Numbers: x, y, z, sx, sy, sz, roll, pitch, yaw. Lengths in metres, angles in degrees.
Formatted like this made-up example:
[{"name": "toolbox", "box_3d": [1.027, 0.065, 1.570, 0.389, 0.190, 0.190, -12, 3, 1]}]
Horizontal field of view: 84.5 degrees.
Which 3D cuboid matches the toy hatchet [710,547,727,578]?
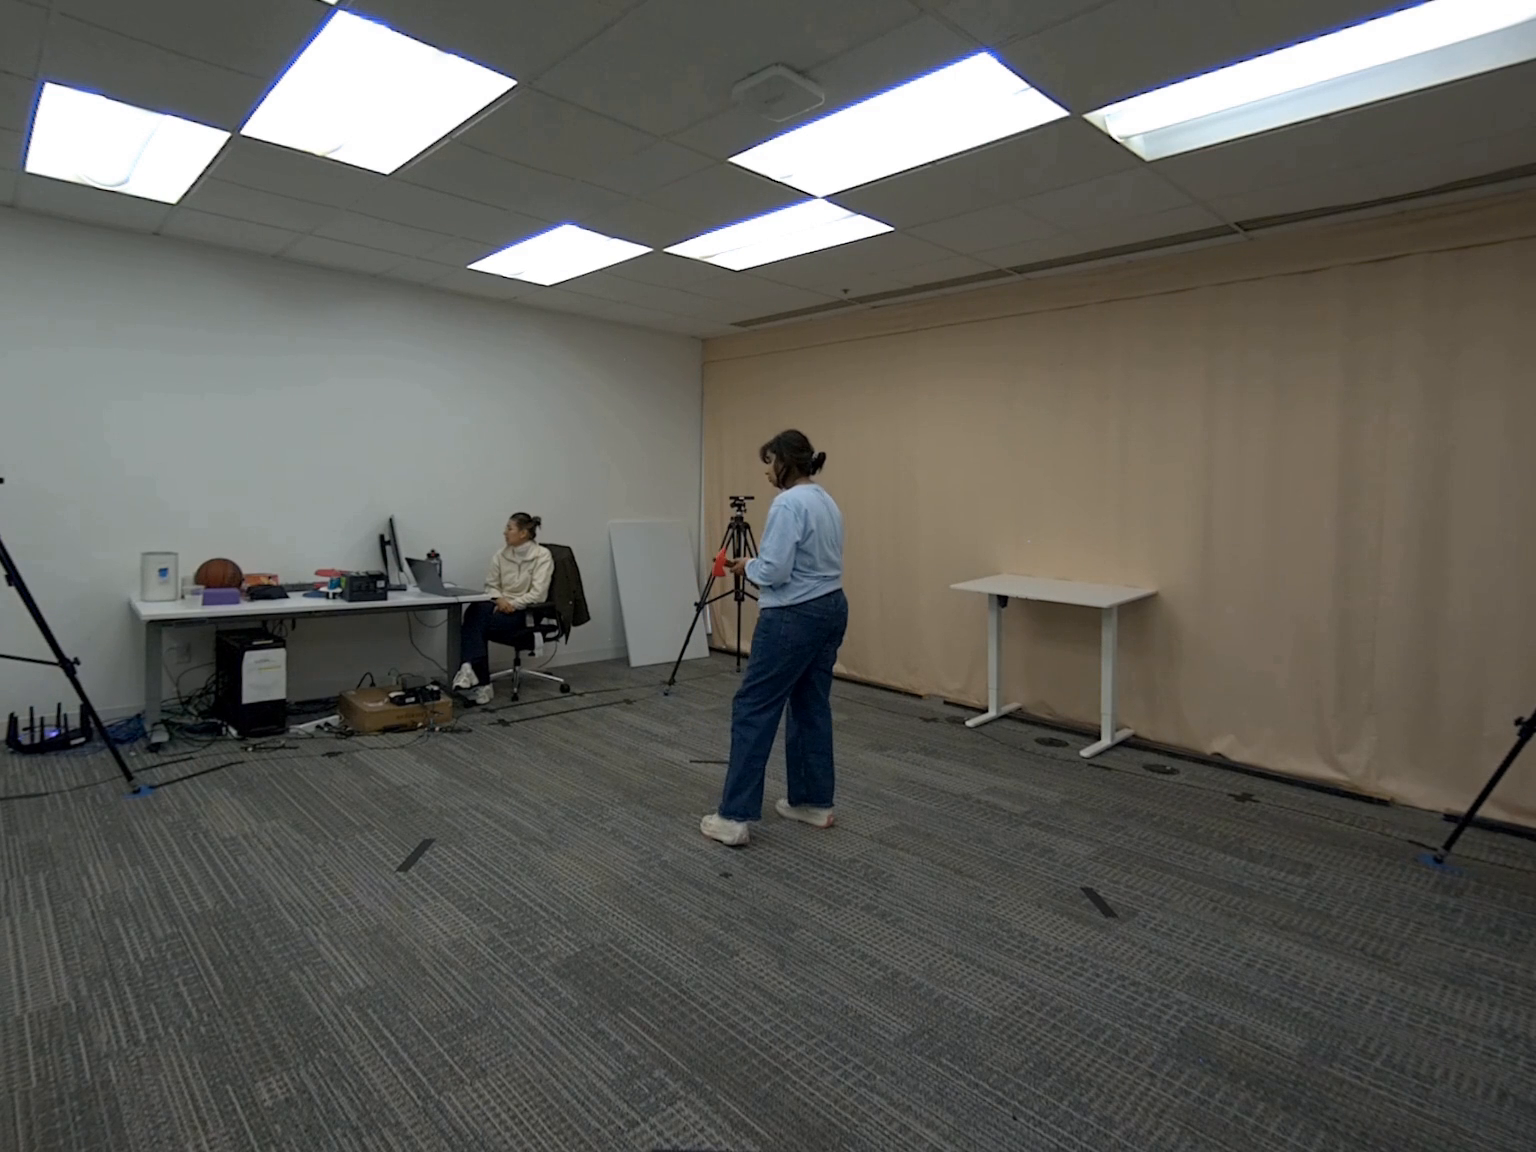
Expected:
[{"name": "toy hatchet", "box_3d": [-0.126, -0.005, 3.618, 0.269, 0.131, 0.030, 35, 8, -4]}]
